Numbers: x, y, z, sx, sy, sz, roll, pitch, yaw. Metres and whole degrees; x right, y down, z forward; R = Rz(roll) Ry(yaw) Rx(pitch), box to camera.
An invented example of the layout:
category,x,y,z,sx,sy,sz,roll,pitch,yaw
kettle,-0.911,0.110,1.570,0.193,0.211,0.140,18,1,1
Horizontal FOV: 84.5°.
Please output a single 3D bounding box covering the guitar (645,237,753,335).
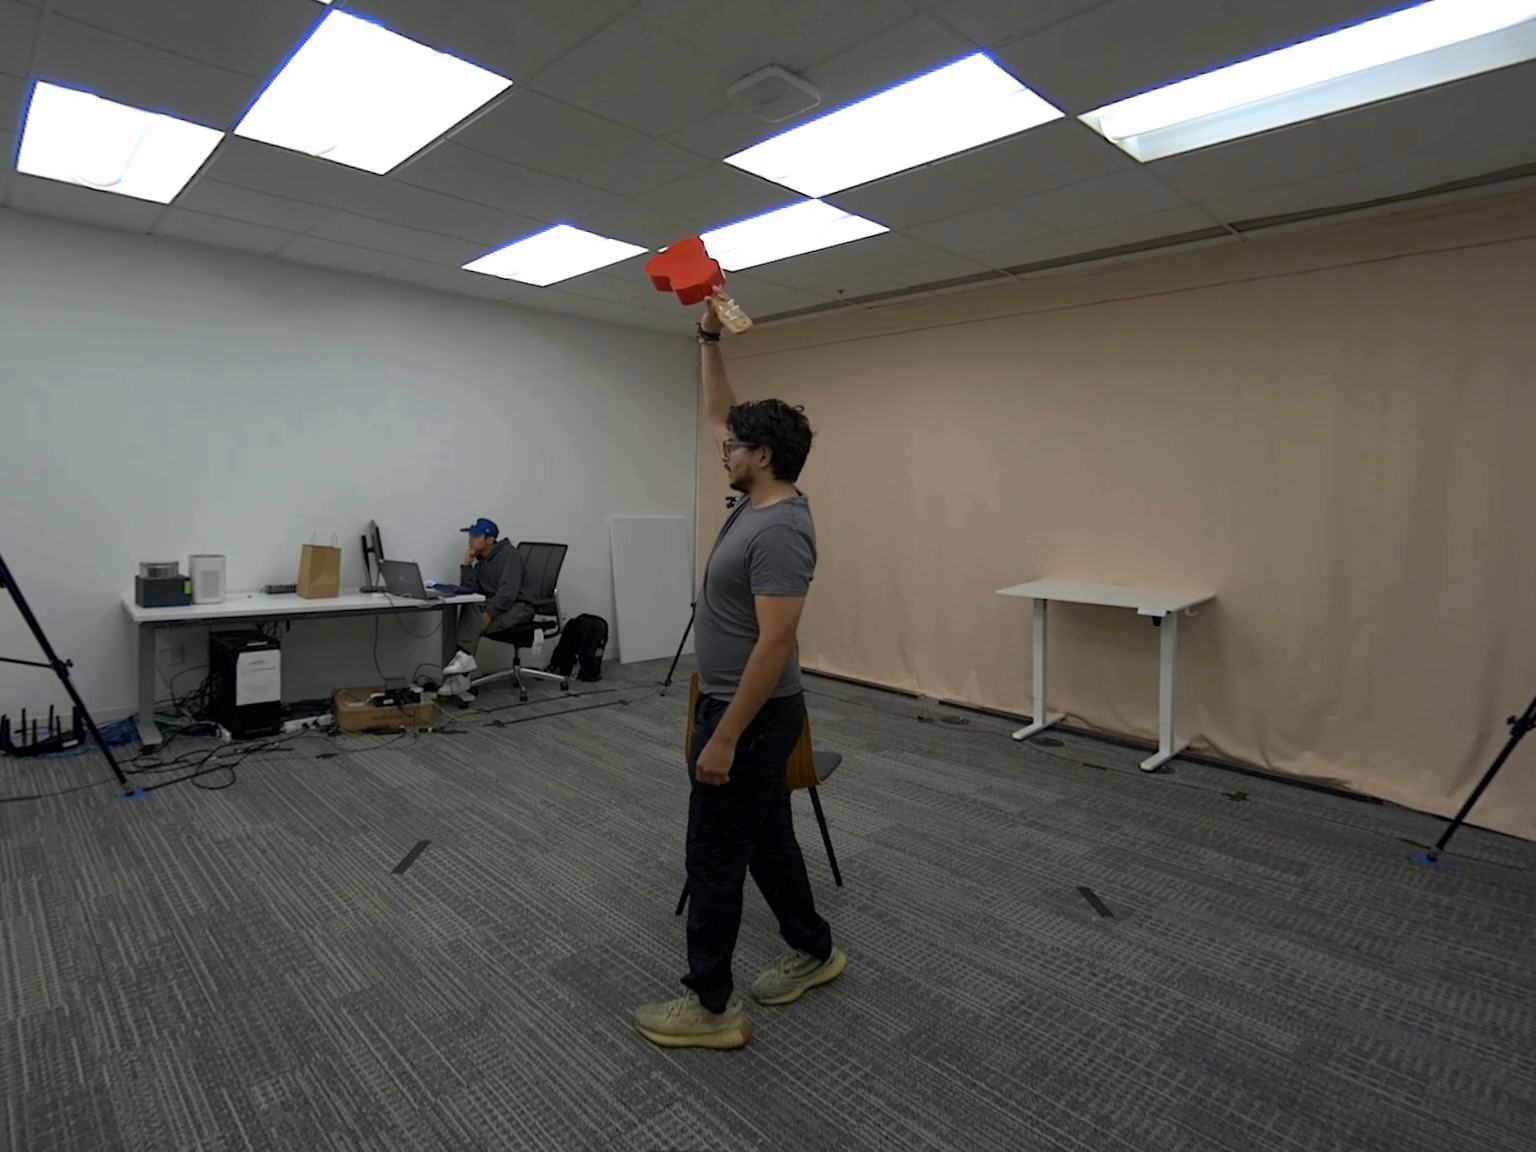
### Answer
category,x,y,z,sx,sy,sz,roll,pitch,yaw
guitar,-0.164,-0.812,2.327,0.192,0.068,0.514,-39,47,-10
